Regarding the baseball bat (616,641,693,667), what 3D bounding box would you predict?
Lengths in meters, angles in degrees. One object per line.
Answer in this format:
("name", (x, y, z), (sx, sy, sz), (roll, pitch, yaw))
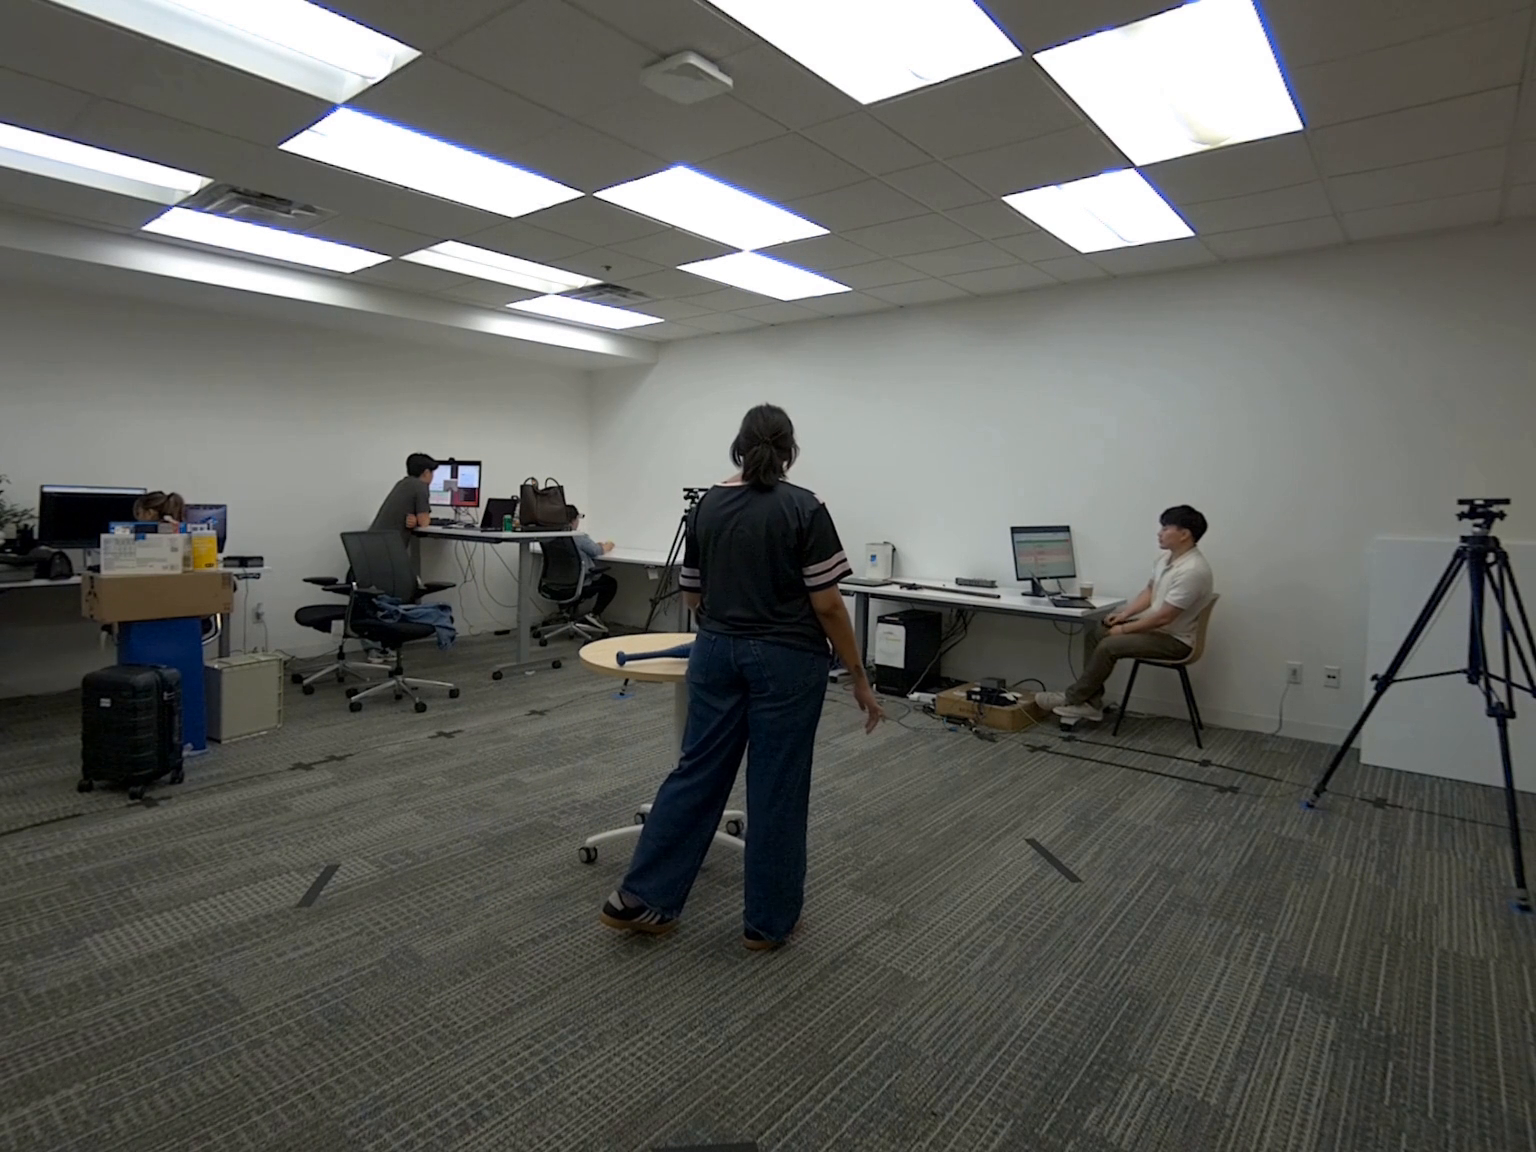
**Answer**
("baseball bat", (-0.281, 0.262, 2.975), (0.532, 0.088, 0.091), (-5, 6, -23))
